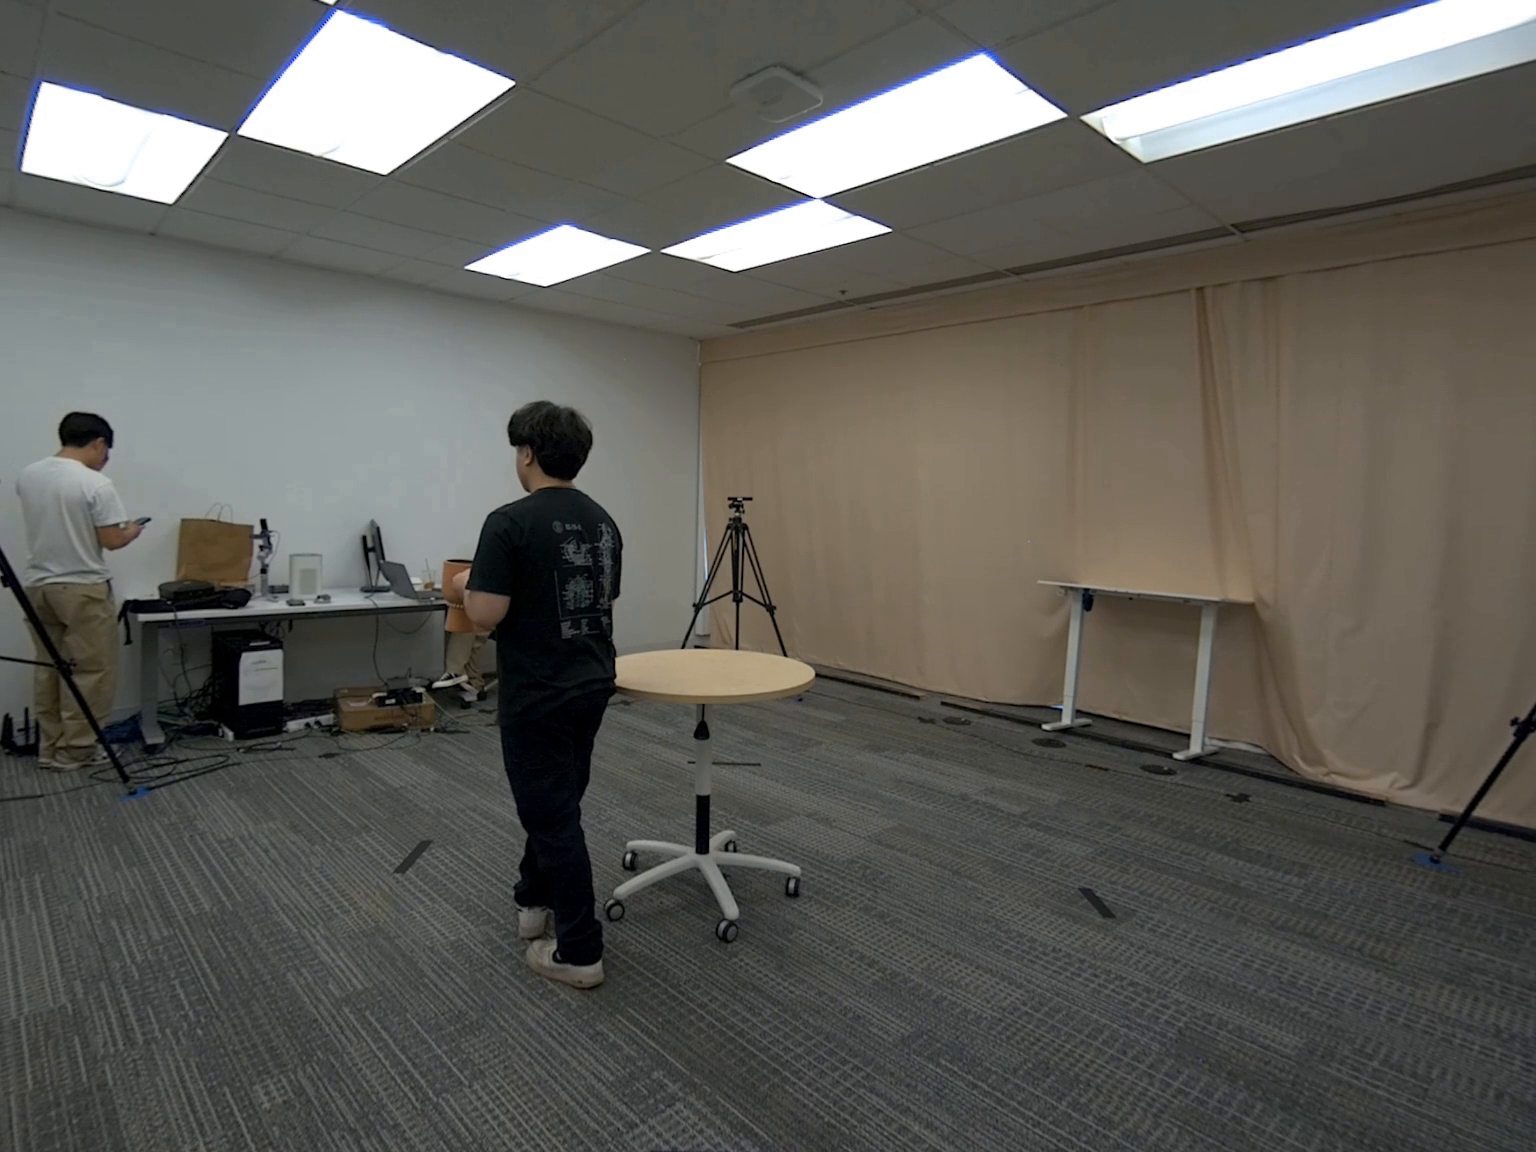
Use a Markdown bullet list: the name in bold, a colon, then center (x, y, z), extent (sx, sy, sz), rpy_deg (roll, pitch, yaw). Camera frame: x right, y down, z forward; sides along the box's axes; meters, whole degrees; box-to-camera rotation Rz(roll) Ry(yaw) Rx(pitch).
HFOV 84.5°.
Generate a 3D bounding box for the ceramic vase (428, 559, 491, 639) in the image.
- **ceramic vase**: center (-0.961, 0.067, 2.678), extent (0.136, 0.219, 0.157), rpy_deg (7, 4, 13)
